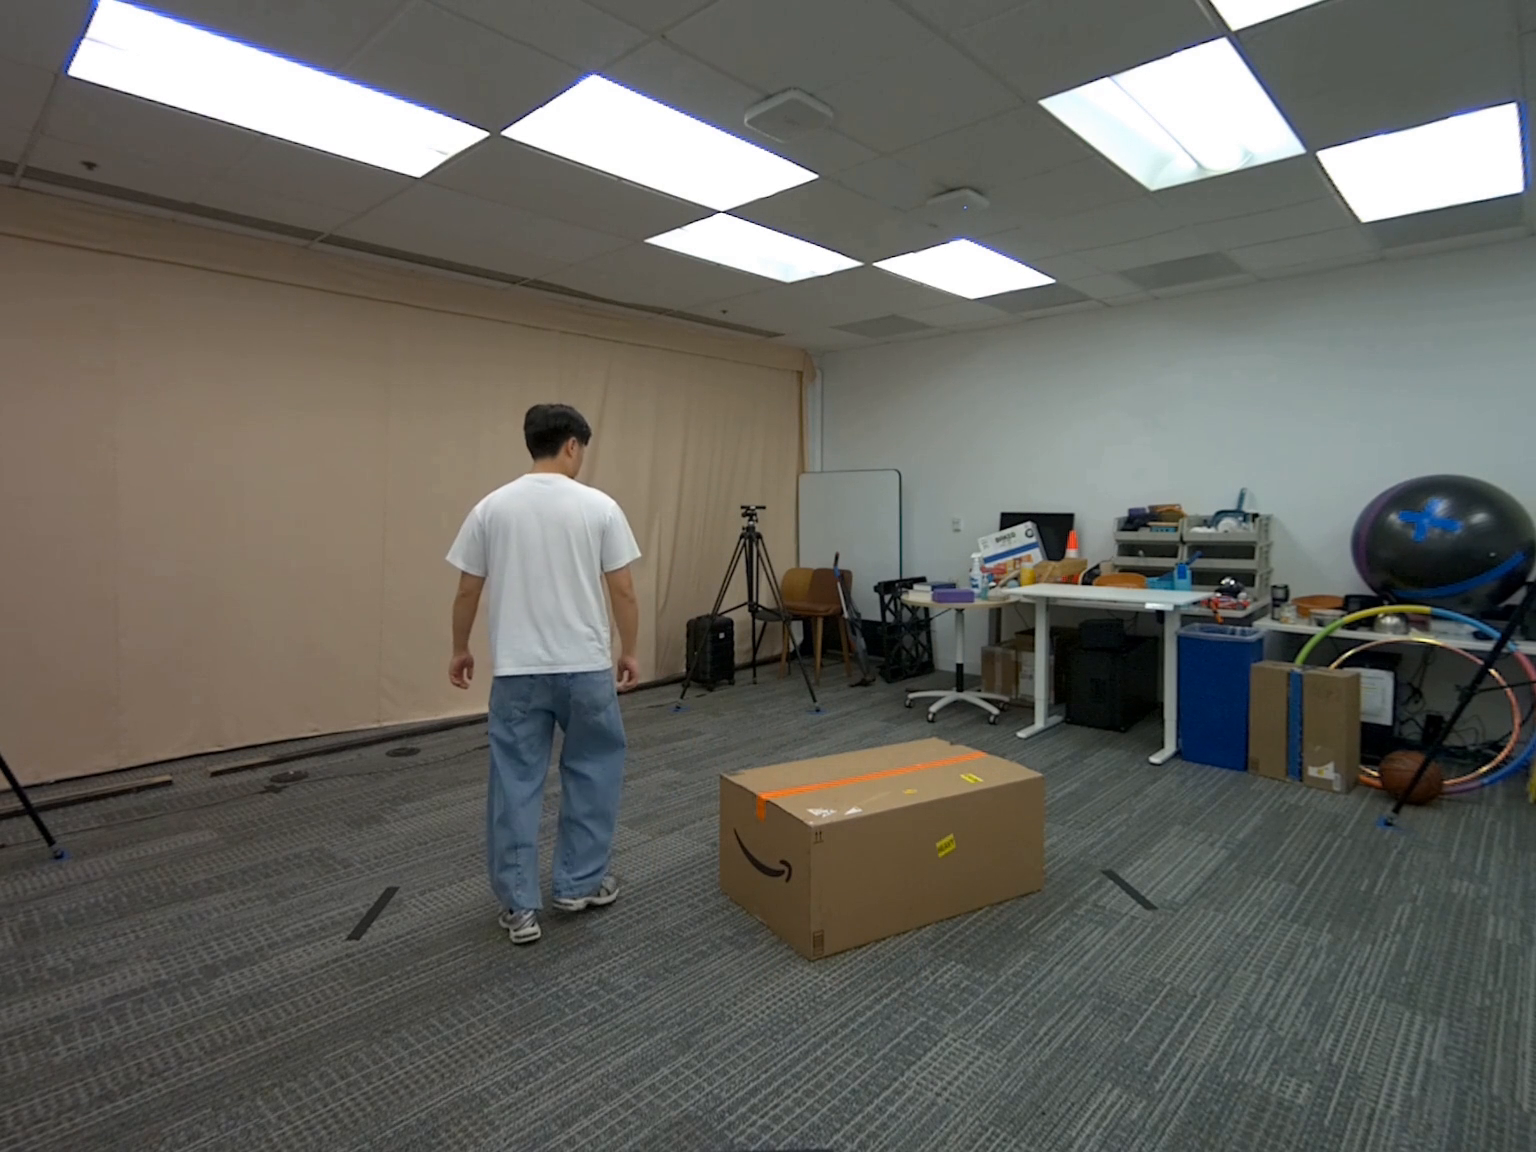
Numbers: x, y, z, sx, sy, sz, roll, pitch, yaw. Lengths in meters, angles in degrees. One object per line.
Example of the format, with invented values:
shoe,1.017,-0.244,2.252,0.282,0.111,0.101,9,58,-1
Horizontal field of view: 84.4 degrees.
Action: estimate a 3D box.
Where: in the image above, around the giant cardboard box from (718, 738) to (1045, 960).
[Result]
giant cardboard box,0.410,0.924,3.041,0.998,0.425,0.595,-3,5,-30
